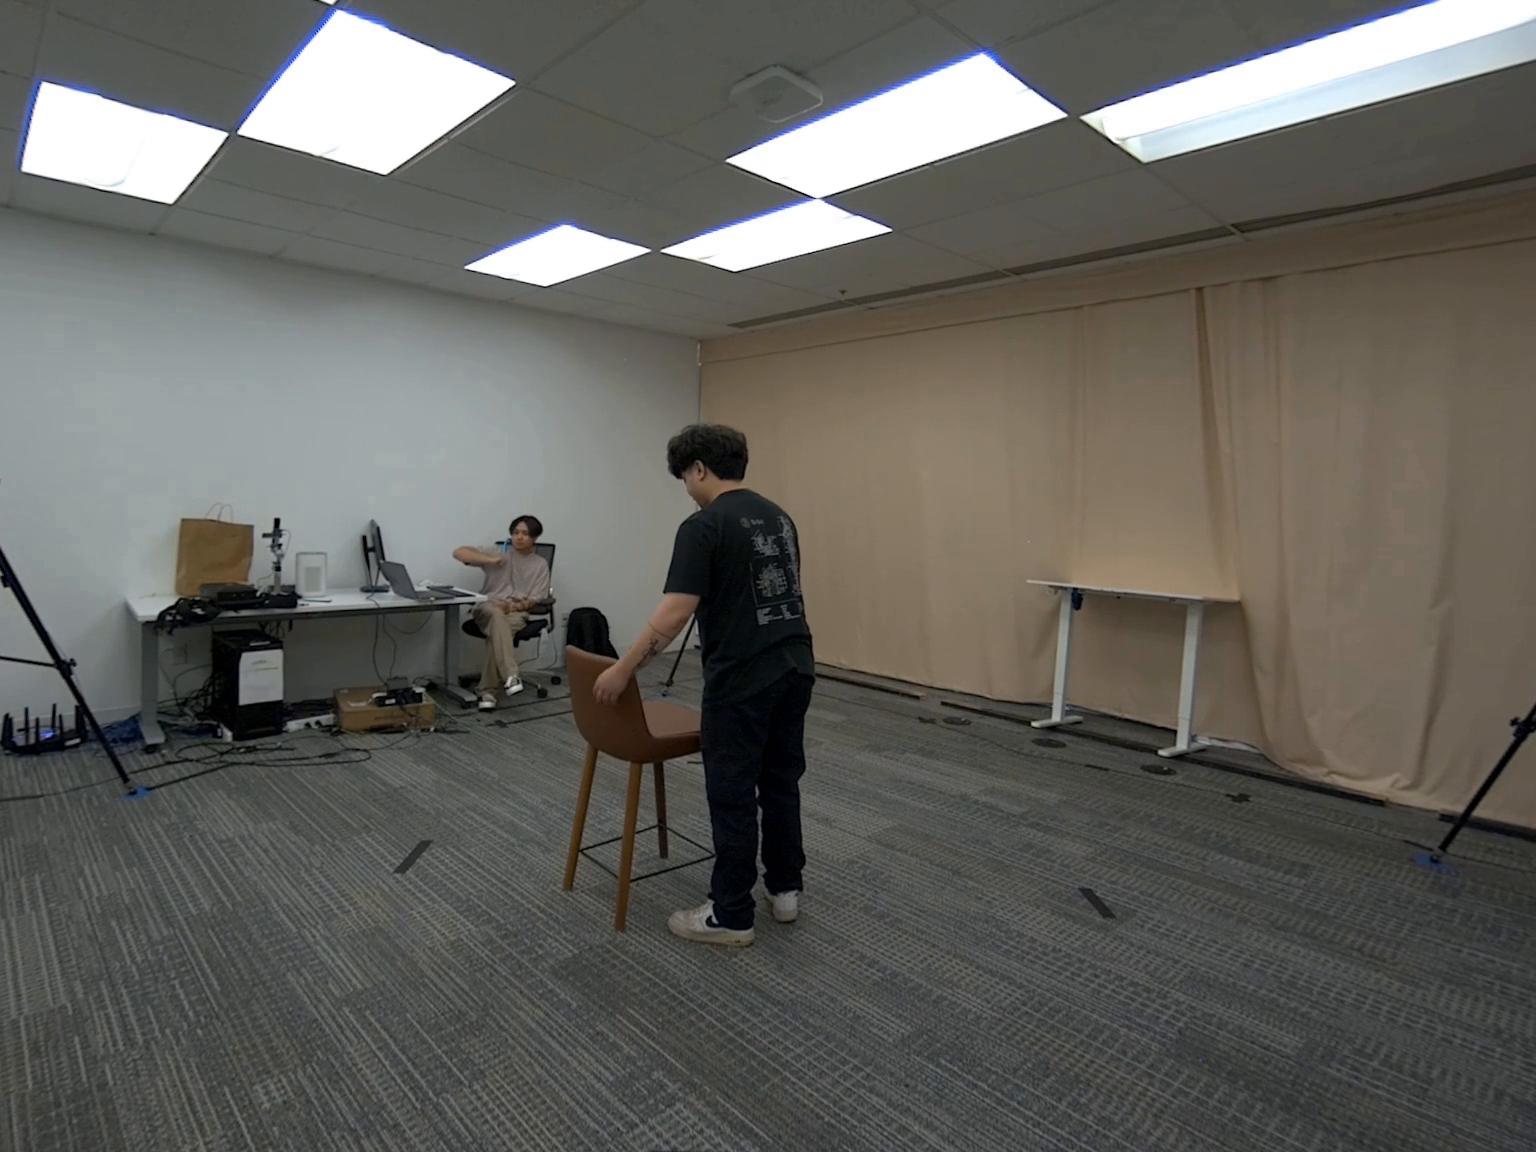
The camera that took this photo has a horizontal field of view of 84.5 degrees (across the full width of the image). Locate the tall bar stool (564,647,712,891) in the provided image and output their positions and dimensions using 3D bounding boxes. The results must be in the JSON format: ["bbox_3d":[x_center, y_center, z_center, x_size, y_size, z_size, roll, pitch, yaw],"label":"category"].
[{"bbox_3d":[-0.441,0.679,2.945,0.458,0.886,0.468,-5,6,-39],"label":"tall bar stool"}]
